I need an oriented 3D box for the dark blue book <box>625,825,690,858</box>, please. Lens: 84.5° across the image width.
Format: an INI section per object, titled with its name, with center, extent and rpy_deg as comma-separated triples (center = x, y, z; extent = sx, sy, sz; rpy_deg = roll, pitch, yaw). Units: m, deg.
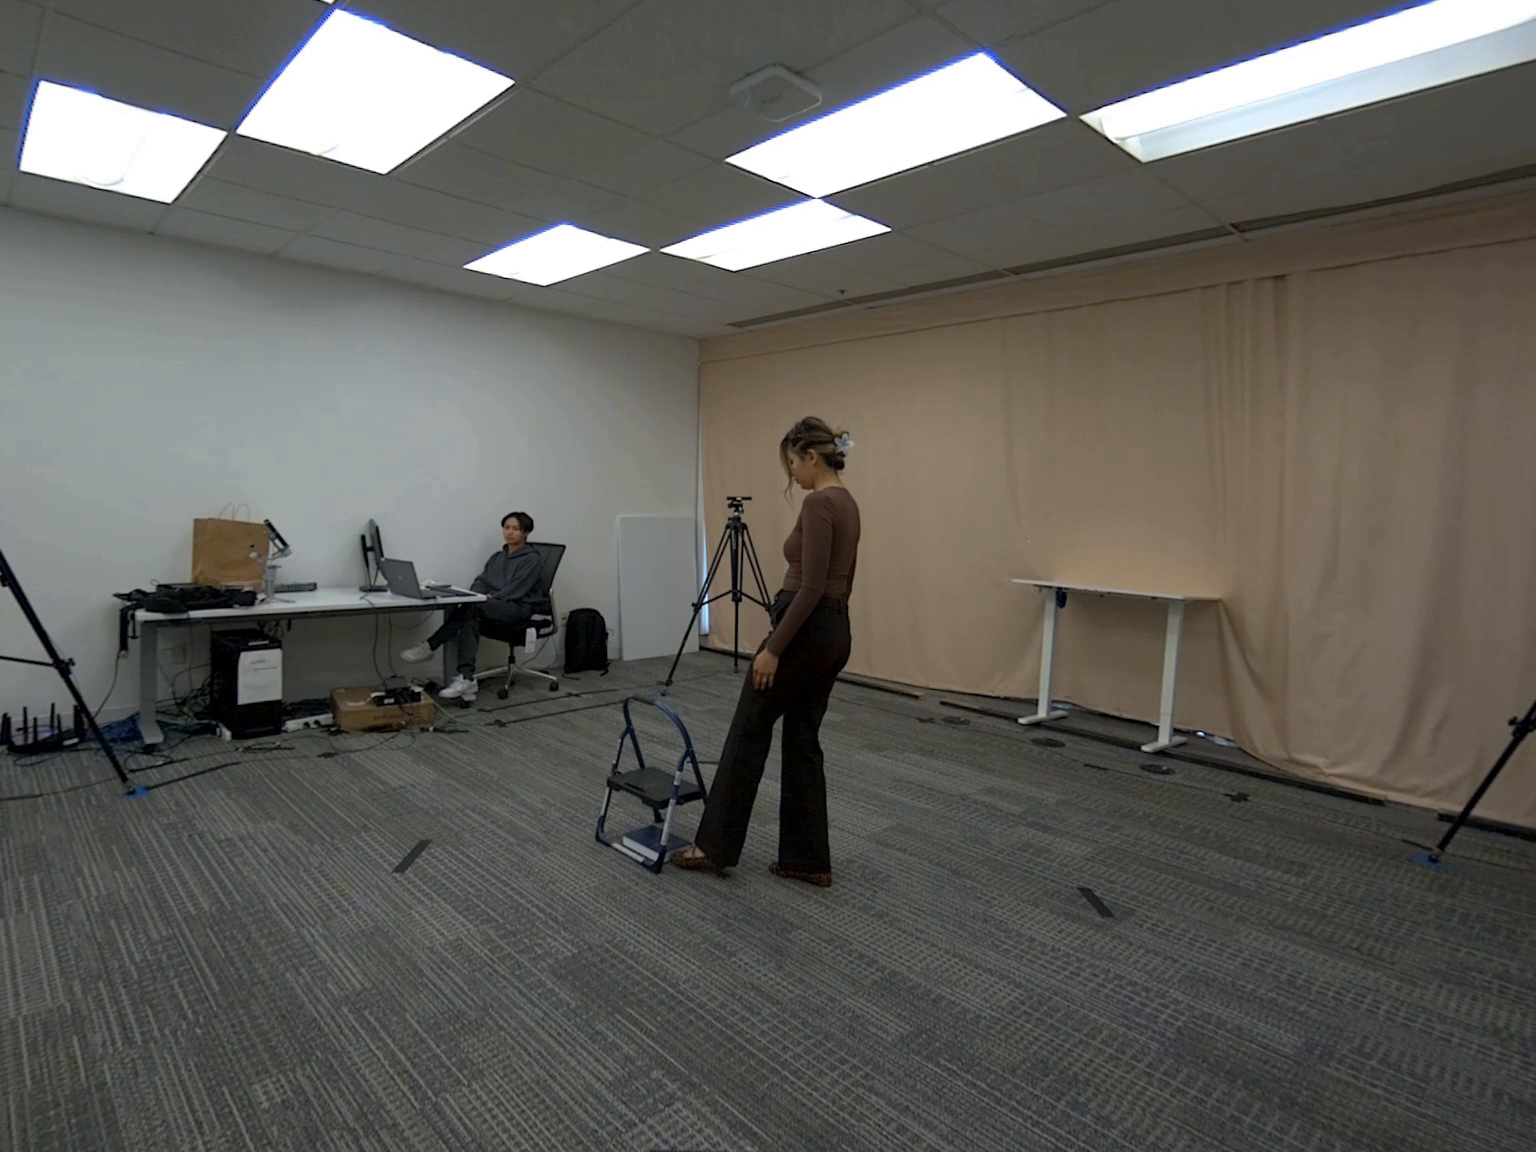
[dark blue book]
center = -0.441, 1.062, 3.325
extent = 0.160, 0.045, 0.251
rpy_deg = -4, 7, -45
